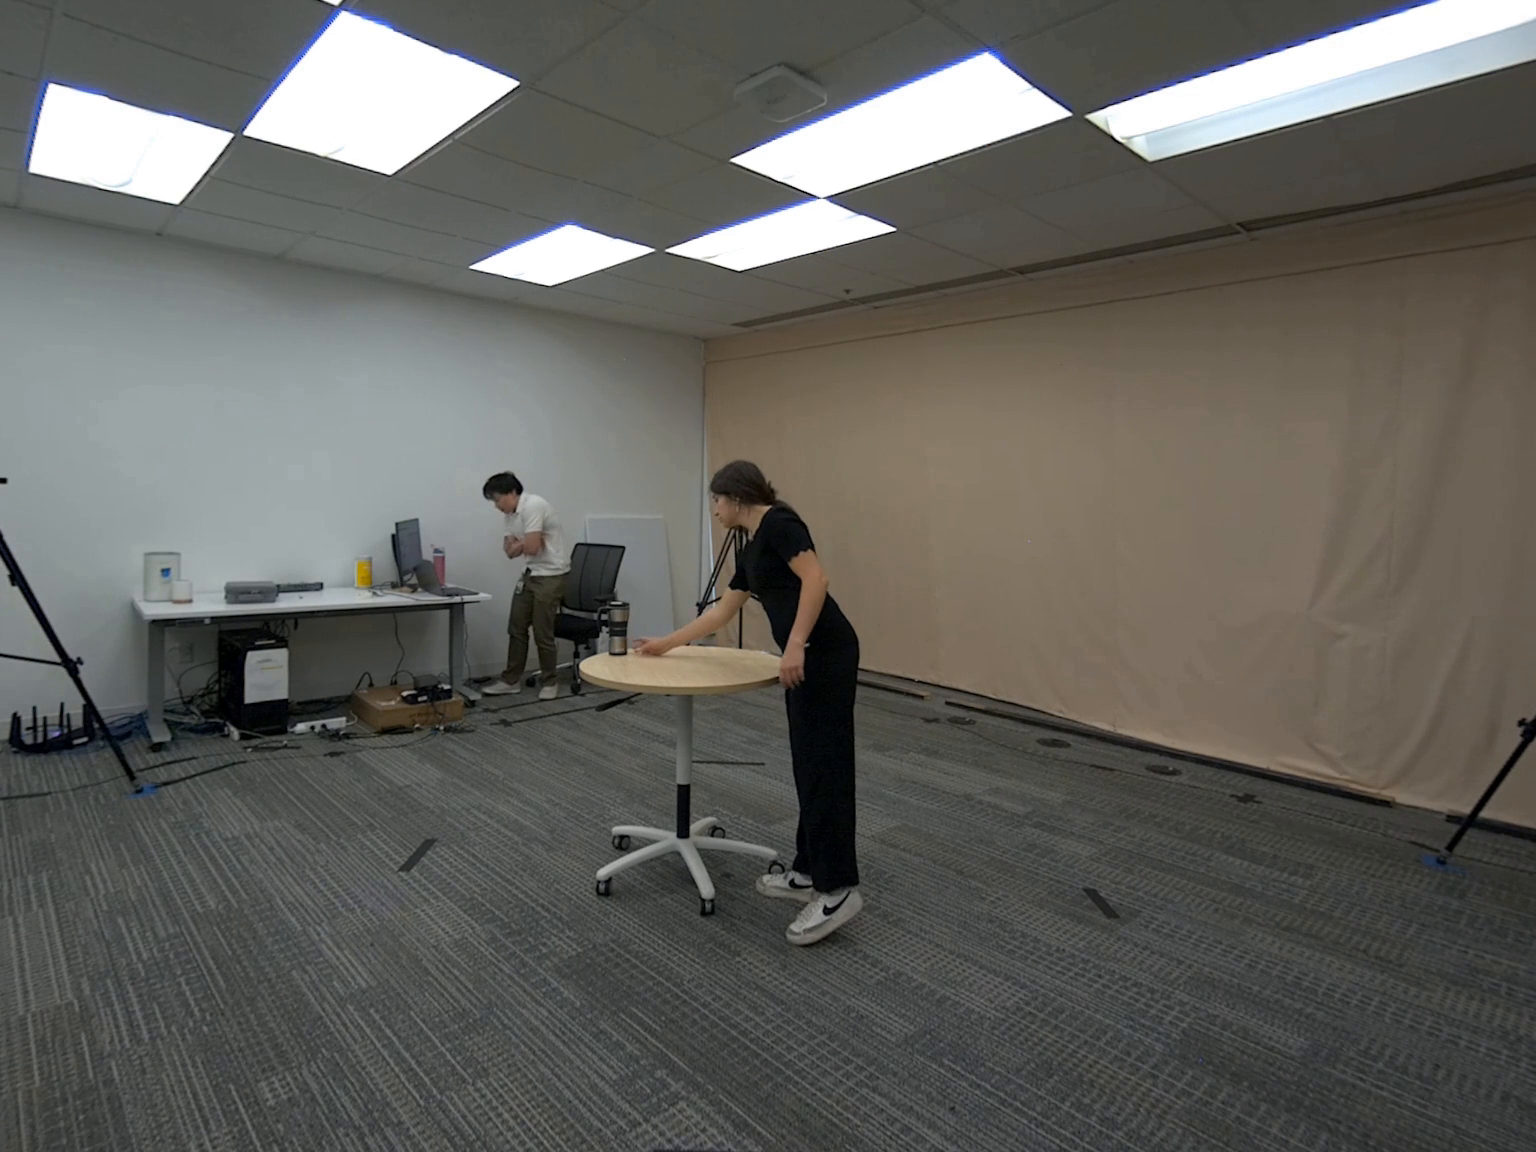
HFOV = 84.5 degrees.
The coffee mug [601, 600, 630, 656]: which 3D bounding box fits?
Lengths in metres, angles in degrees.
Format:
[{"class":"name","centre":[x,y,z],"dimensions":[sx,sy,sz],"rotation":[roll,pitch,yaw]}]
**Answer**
[{"class":"coffee mug","centre":[-0.600,0.201,3.237],"dimensions":[0.123,0.202,0.088],"rotation":[6,9,8]}]
